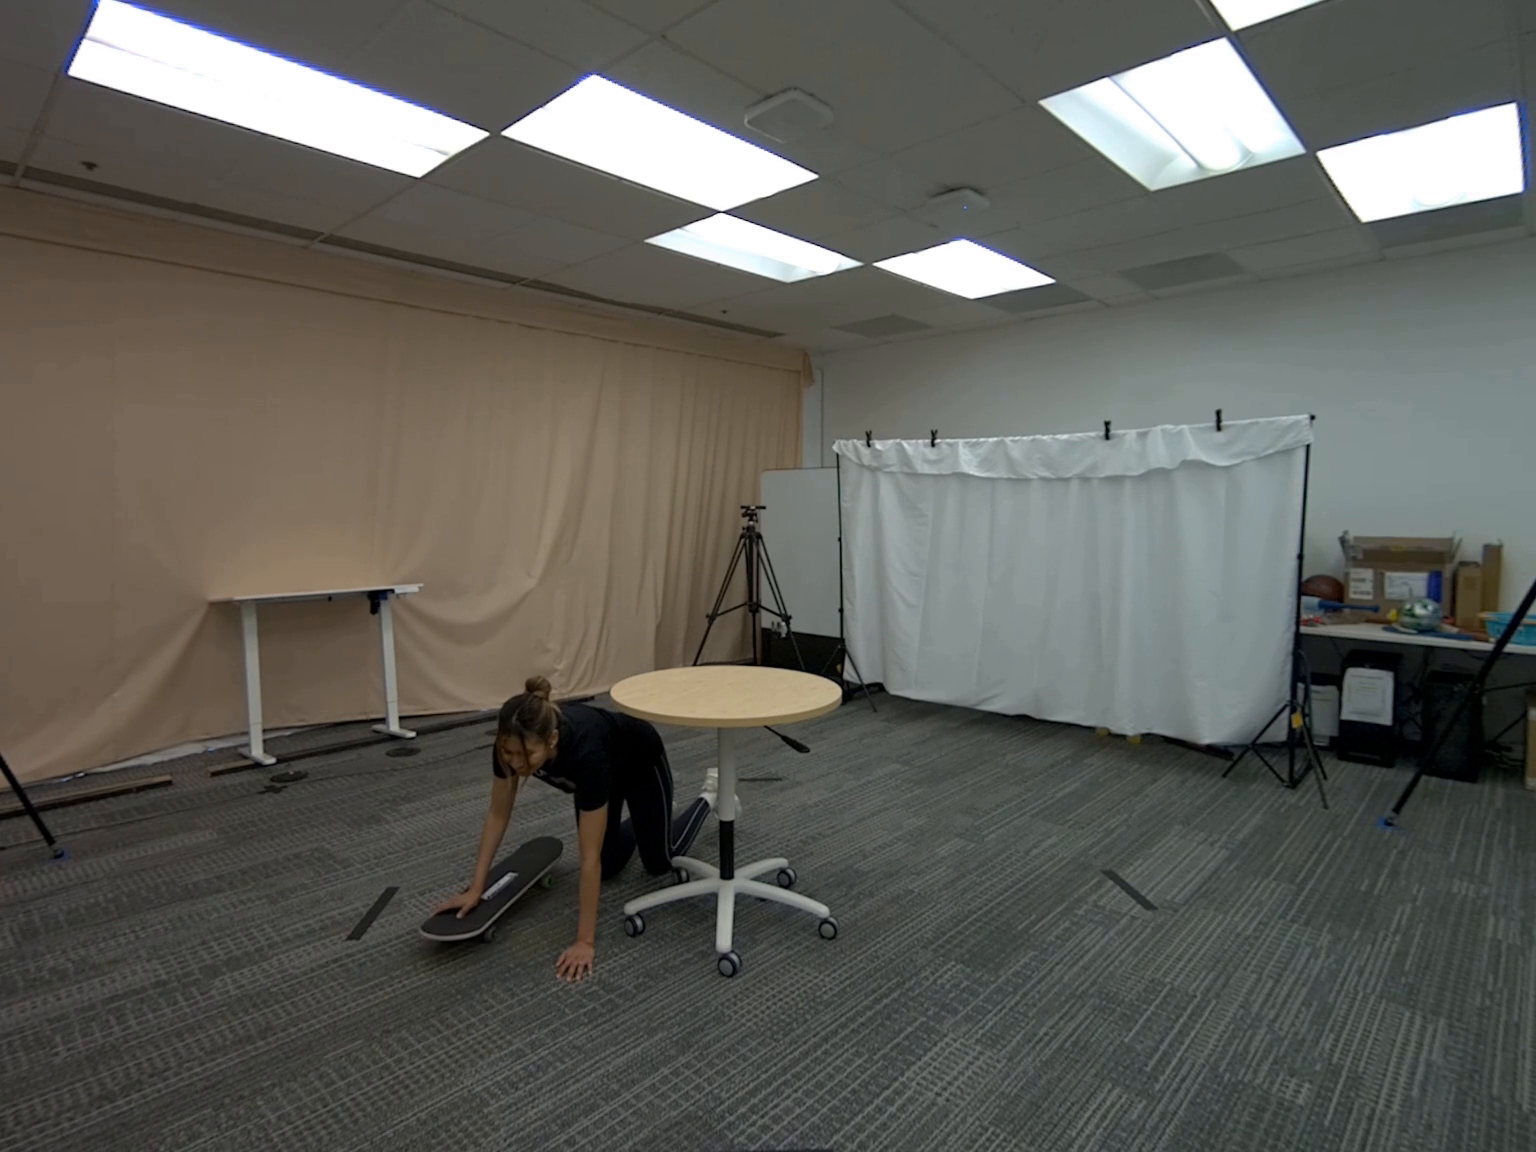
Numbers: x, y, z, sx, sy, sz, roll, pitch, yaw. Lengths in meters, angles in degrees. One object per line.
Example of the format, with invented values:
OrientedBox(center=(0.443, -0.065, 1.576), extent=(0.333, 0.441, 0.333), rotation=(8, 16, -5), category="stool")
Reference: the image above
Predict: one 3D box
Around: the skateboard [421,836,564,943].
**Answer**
OrientedBox(center=(-0.928, 1.105, 2.912), extent=(0.196, 0.110, 0.775), rotation=(0, 5, 13), category="skateboard")
